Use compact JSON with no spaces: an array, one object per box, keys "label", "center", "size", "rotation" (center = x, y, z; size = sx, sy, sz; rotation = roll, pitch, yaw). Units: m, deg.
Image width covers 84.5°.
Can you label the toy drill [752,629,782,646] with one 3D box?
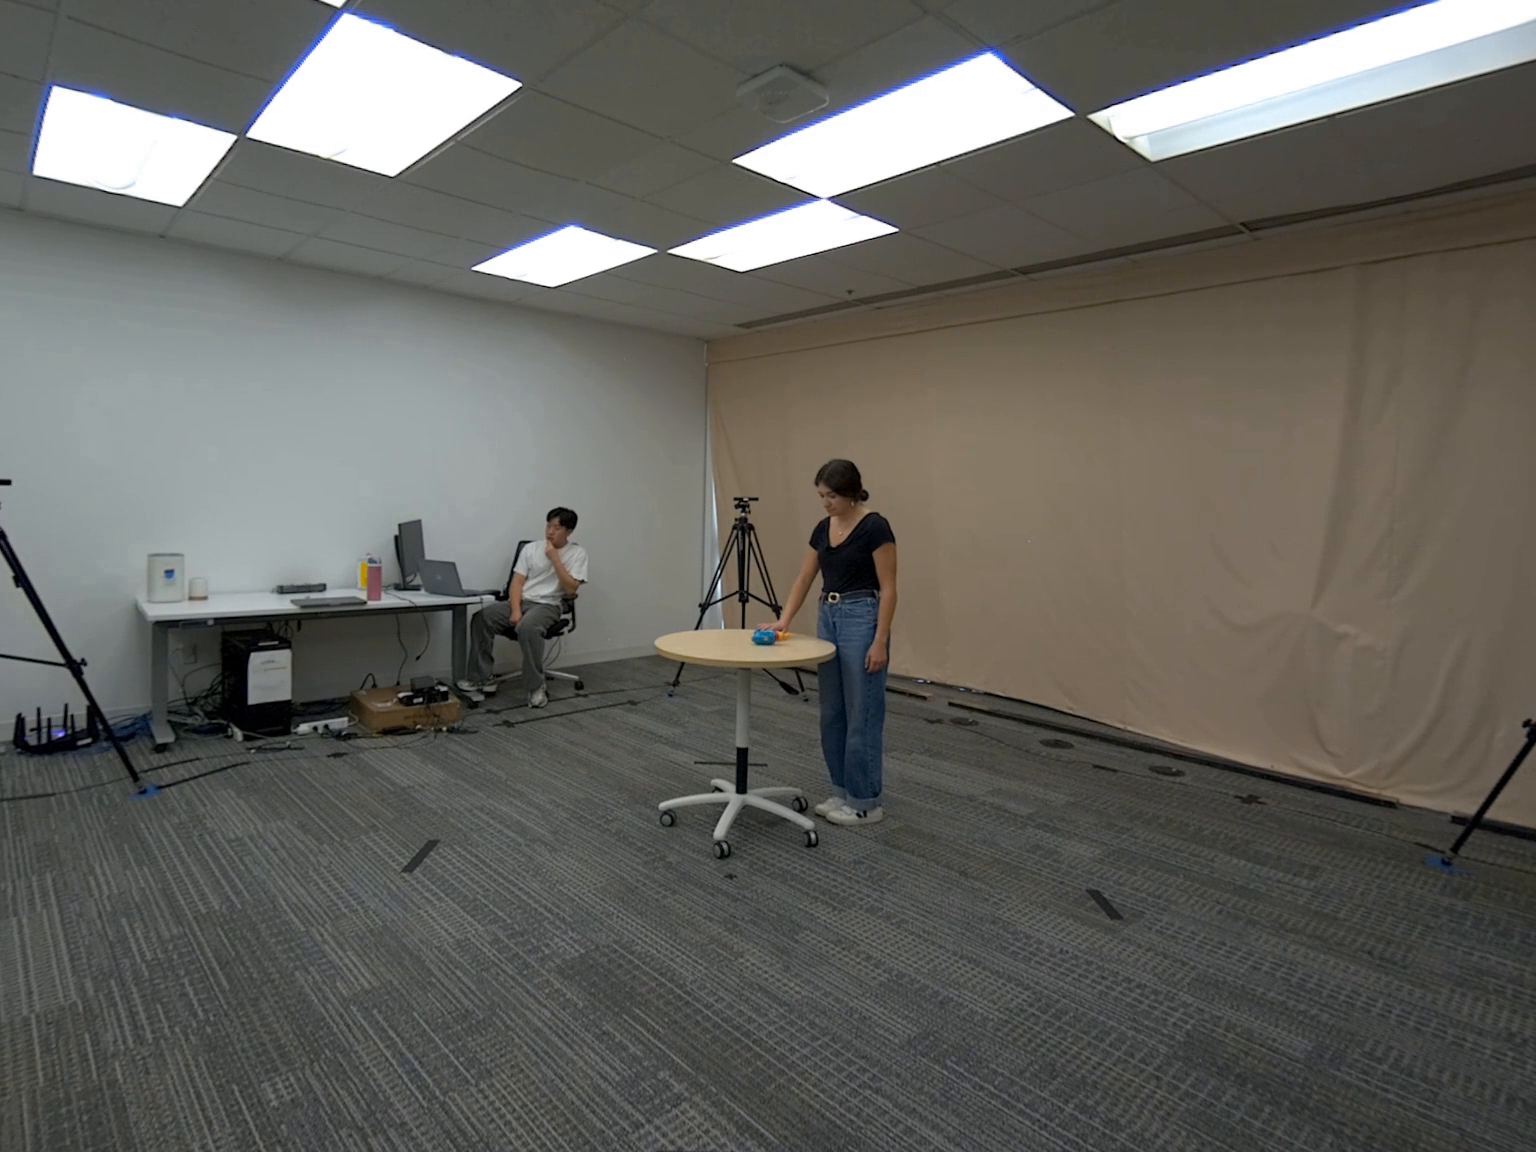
[{"label":"toy drill","center":[0.000,0.257,3.589],"size":[0.170,0.061,0.146],"rotation":[-5,3,-1]}]
